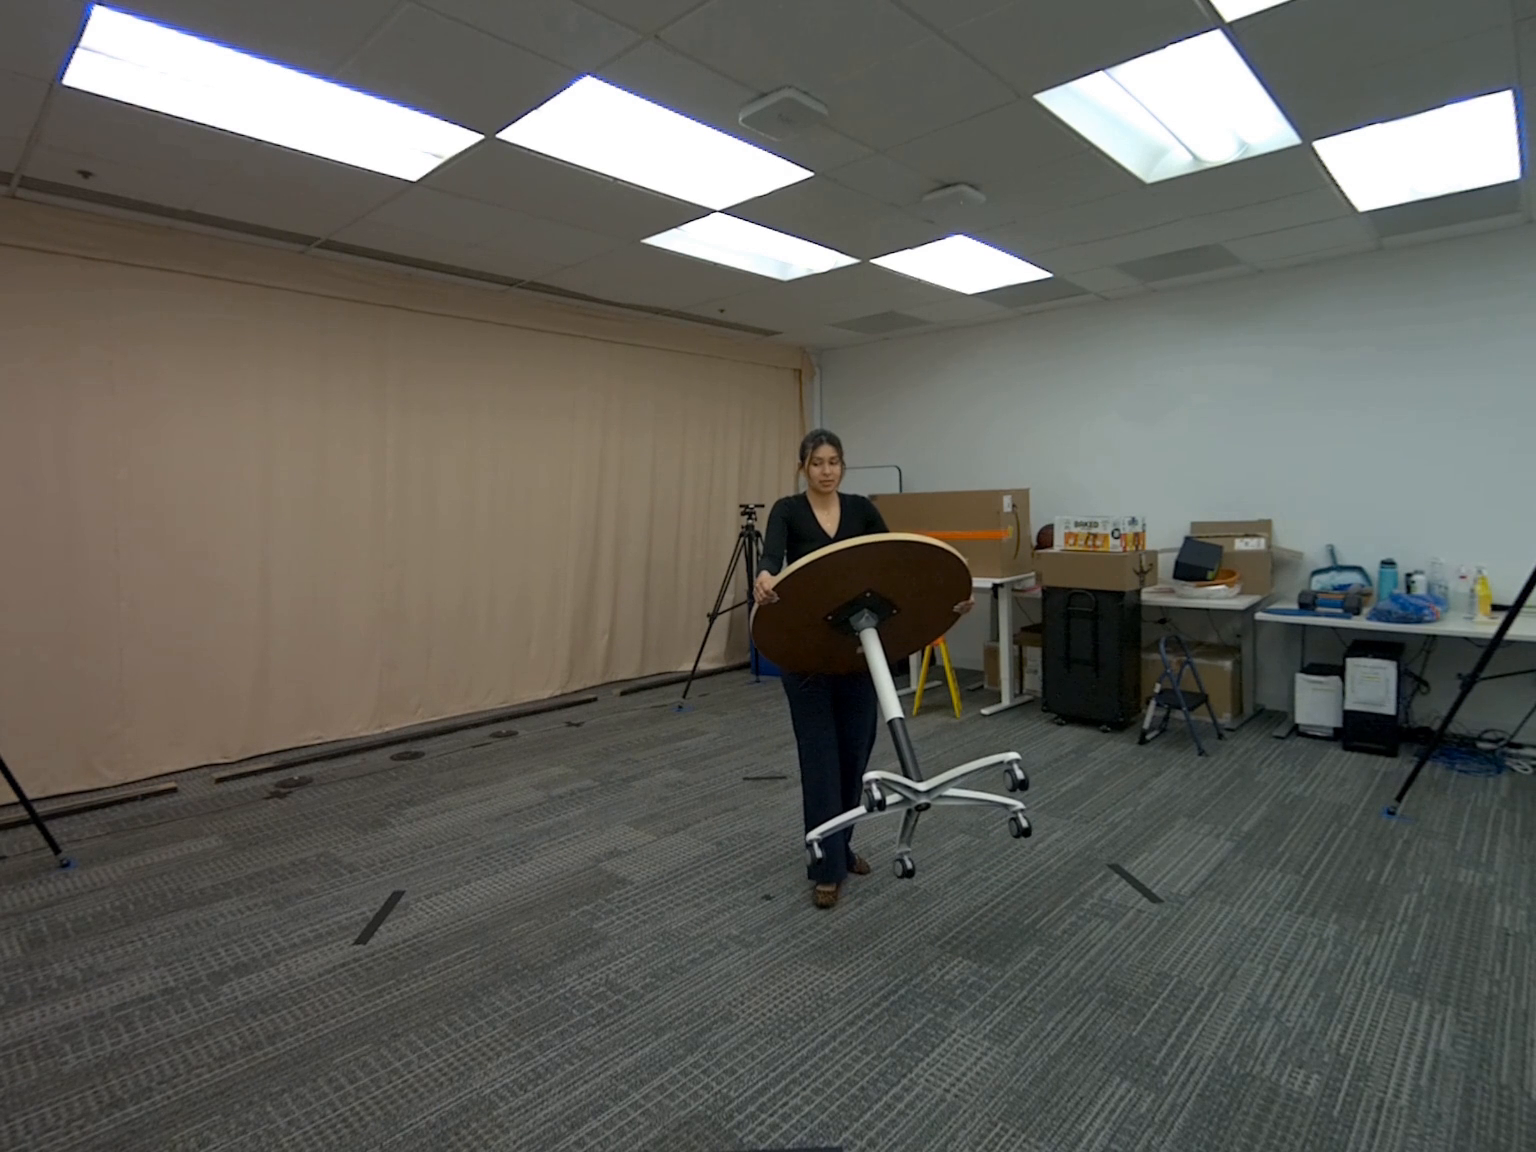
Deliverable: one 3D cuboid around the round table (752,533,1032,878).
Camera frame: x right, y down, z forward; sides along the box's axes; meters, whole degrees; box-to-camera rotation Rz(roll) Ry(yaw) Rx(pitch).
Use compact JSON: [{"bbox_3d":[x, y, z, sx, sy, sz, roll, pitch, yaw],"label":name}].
[{"bbox_3d":[0.393,0.423,2.623,0.759,0.813,0.750,-7,-38,-7],"label":"round table"}]
